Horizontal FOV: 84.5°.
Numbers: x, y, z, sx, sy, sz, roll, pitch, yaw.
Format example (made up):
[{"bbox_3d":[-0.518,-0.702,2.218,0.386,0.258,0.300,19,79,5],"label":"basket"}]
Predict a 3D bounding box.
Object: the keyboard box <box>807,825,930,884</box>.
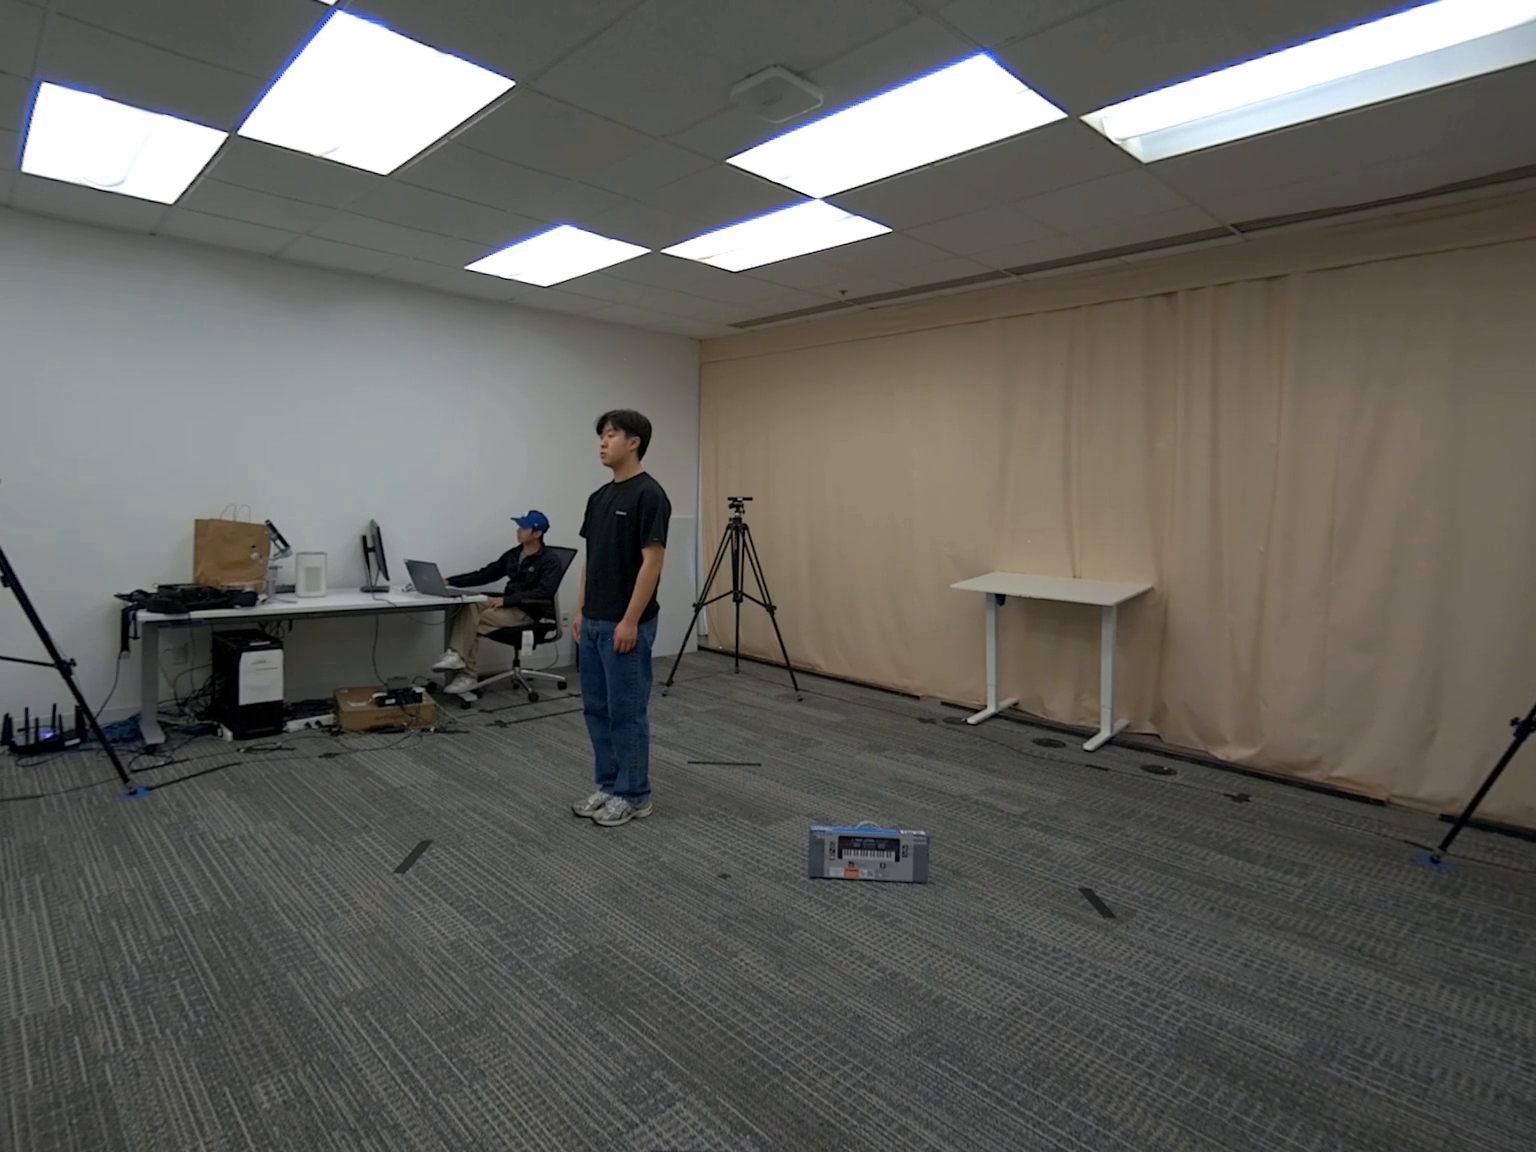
[{"bbox_3d":[0.365,1.030,3.115,0.438,0.176,0.059,2,-1,2],"label":"keyboard box"}]
